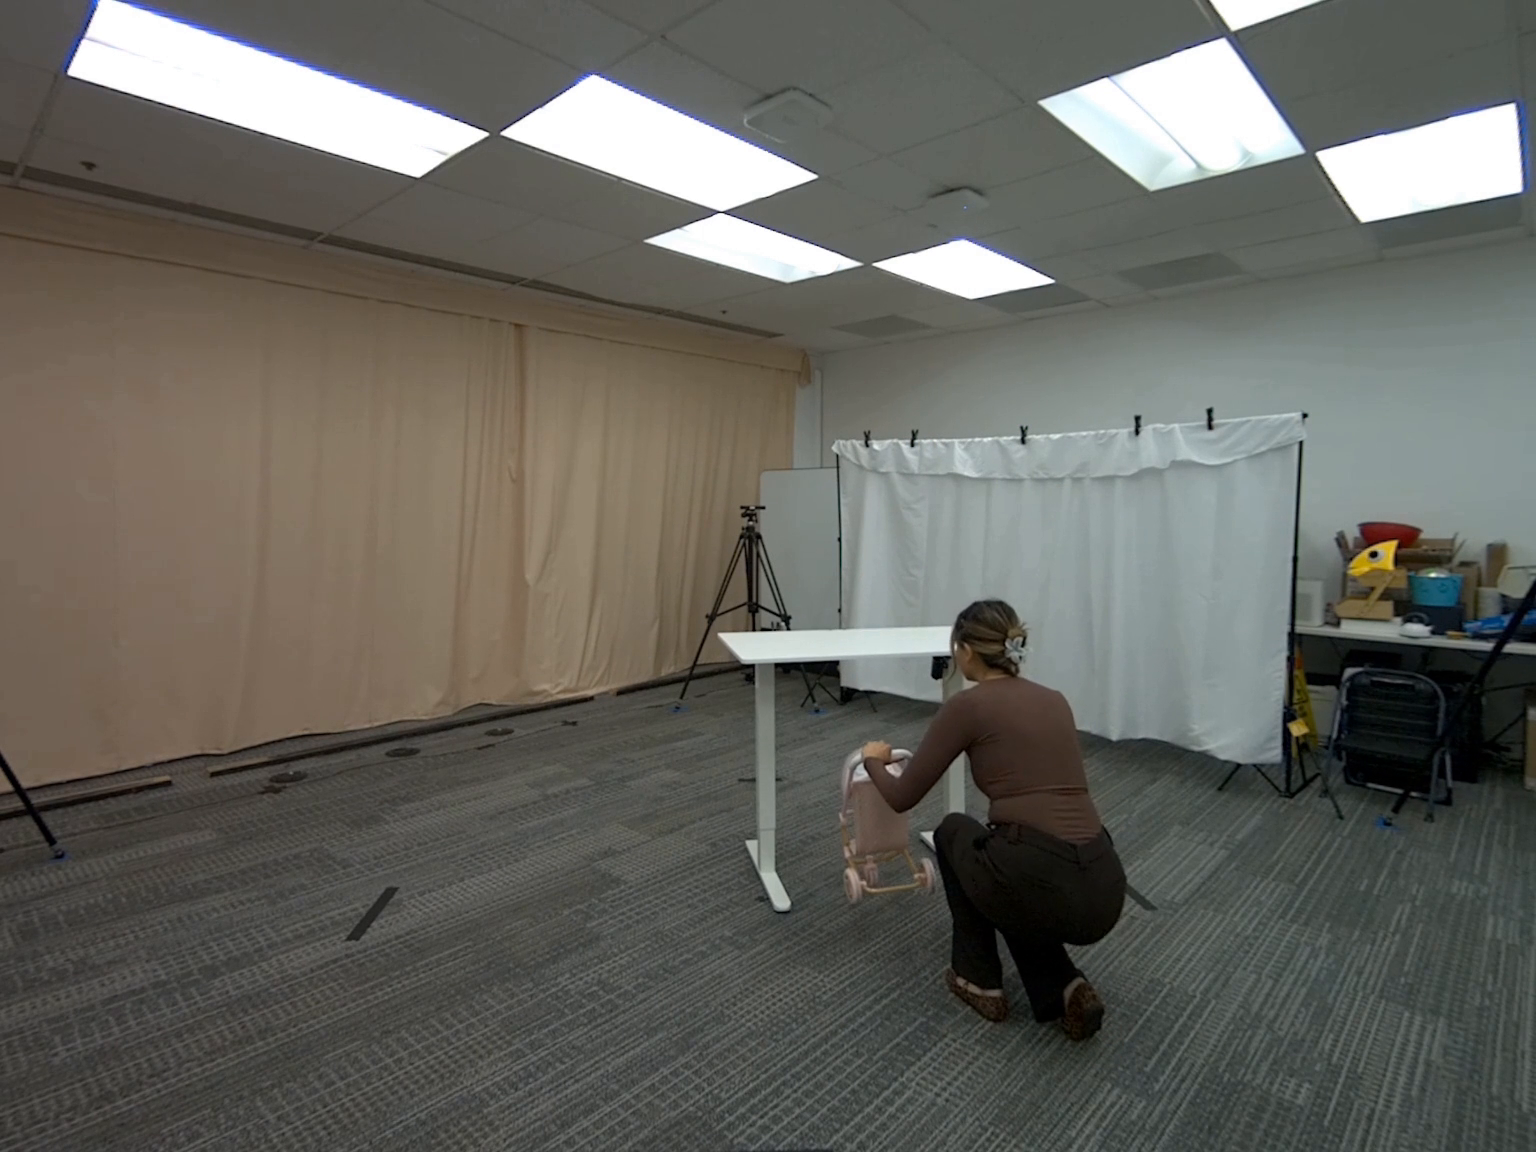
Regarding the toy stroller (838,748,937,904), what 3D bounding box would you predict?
[{"bbox_3d":[0.366,0.810,2.780,0.281,0.534,0.343,-6,2,-4],"label":"toy stroller"}]
